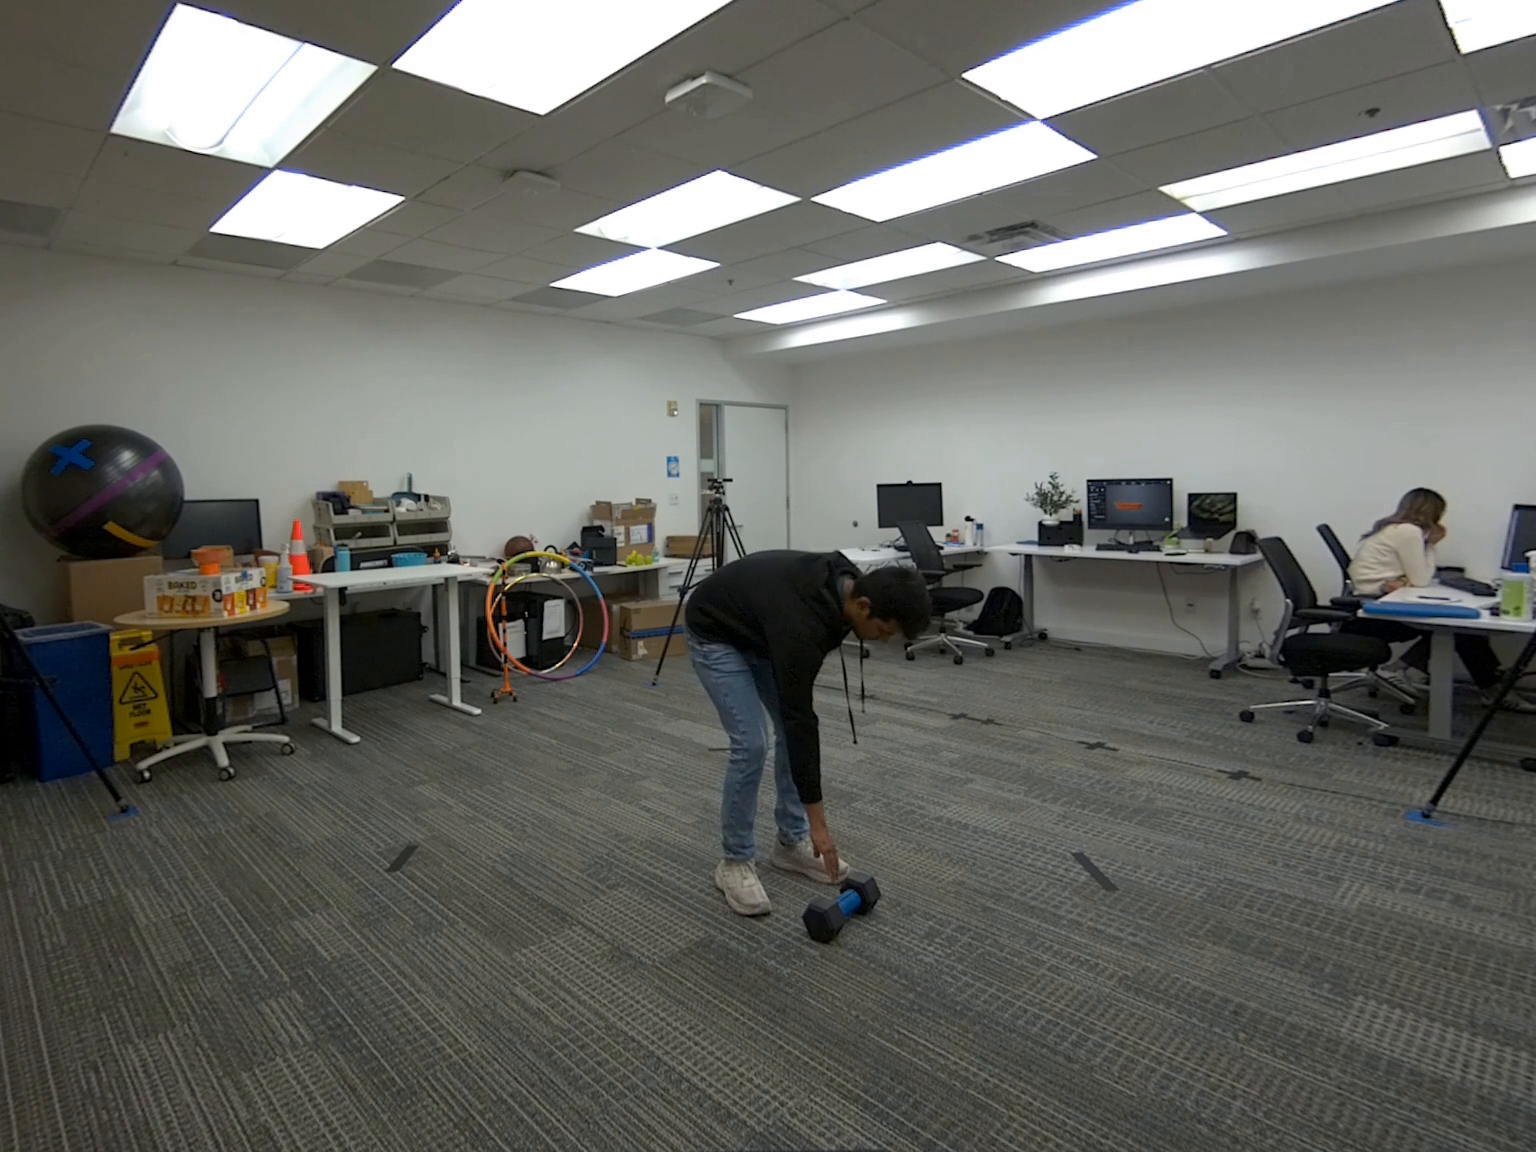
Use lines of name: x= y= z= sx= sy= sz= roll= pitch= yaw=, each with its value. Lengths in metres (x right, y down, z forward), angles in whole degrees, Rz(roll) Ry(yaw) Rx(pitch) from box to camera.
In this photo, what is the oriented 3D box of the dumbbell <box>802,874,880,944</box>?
dumbbell: x=0.238 y=1.034 z=2.679 sx=0.126 sy=0.108 sz=0.286 roll=1 pitch=6 yaw=39
